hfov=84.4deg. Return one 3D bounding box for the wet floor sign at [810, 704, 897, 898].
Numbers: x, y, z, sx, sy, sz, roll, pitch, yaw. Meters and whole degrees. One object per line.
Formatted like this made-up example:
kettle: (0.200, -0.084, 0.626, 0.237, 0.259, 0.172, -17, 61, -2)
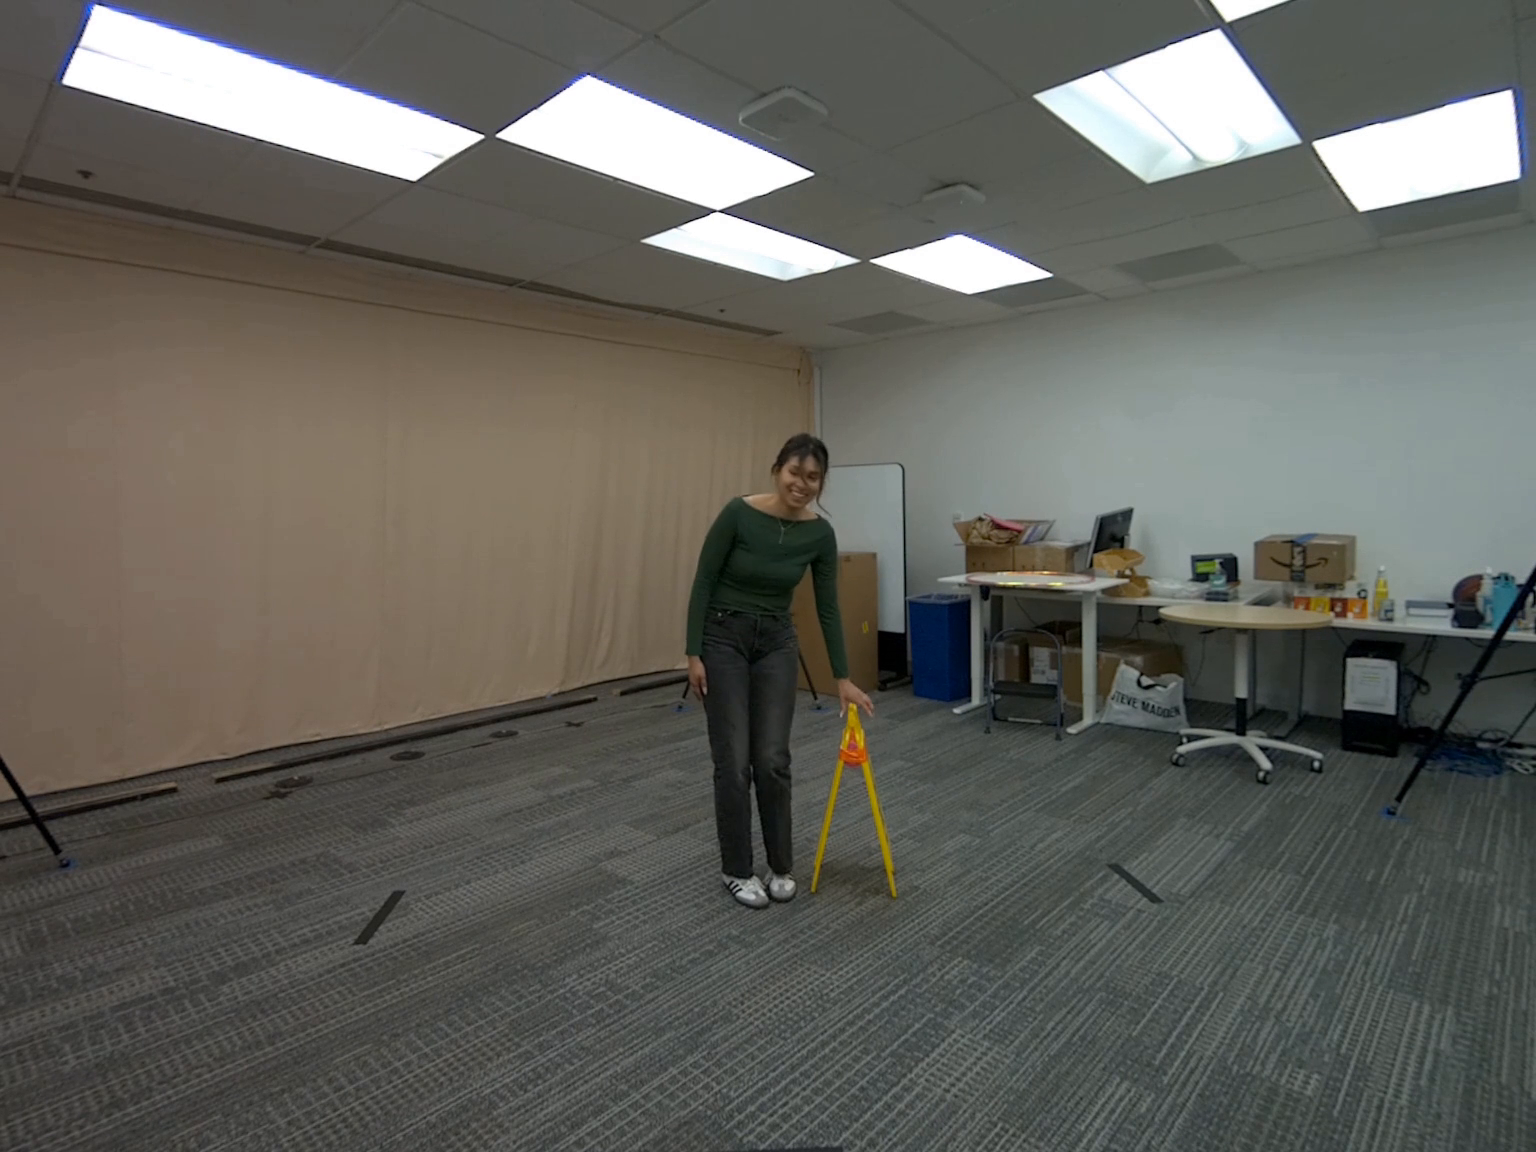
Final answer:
wet floor sign: (0.314, 0.802, 3.101, 0.292, 0.645, 0.280, -1, 2, 6)
